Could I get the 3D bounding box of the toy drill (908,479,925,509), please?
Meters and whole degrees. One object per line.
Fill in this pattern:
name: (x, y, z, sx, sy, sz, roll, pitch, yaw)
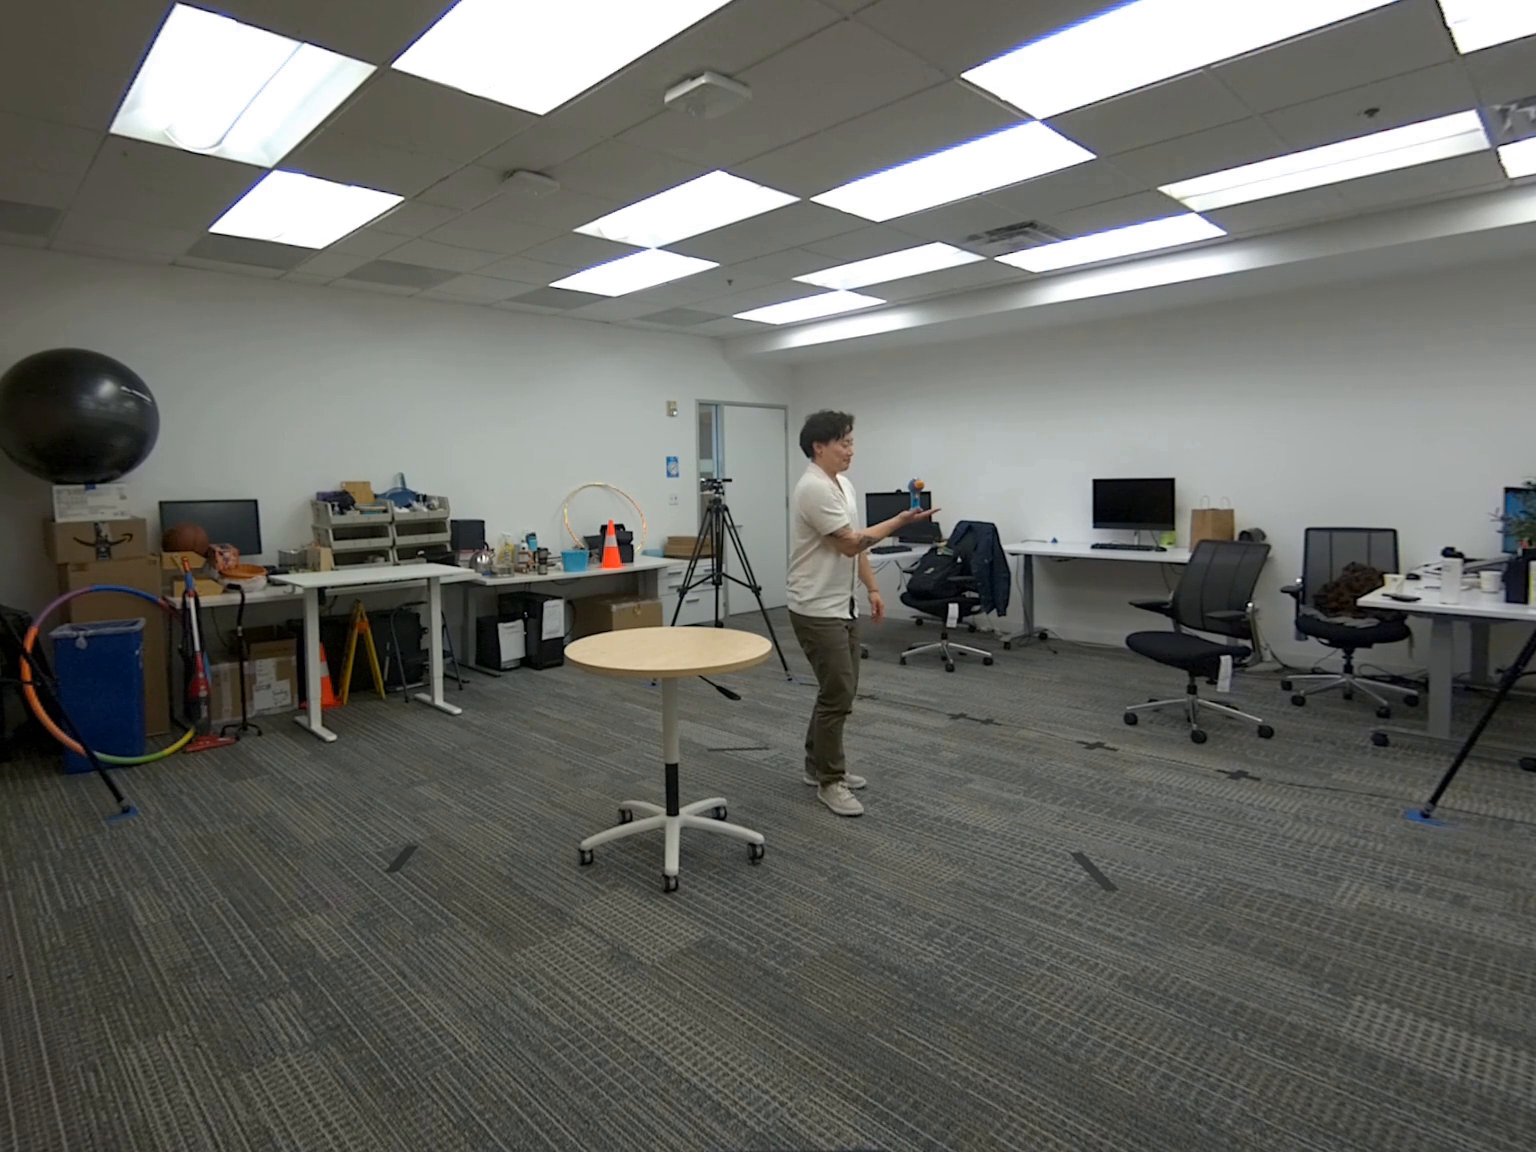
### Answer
toy drill: (0.610, -0.333, 3.495, 0.061, 0.146, 0.169, -2, -2, -1)
